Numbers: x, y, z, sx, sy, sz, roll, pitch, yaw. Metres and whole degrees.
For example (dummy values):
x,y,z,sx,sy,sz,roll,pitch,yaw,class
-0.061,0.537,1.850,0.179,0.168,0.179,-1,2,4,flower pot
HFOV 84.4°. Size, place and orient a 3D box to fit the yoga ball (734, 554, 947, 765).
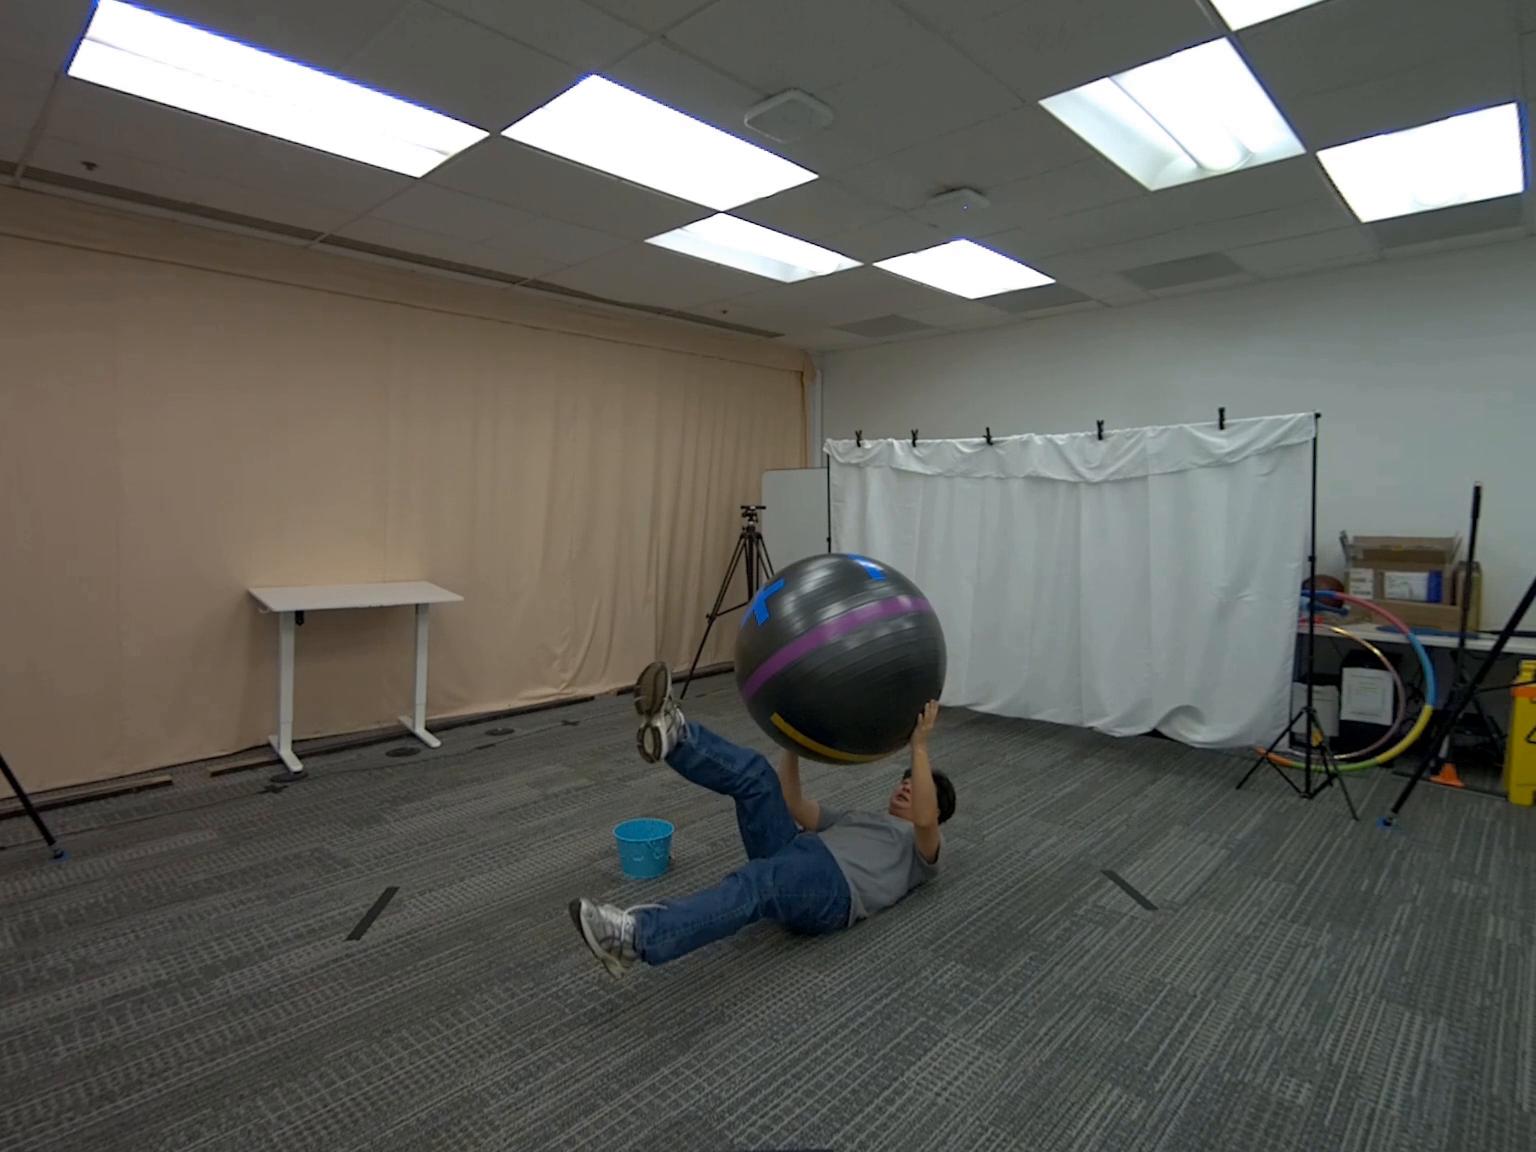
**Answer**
x,y,z,sx,sy,sz,roll,pitch,yaw,class
0.257,0.303,3.059,0.757,0.756,0.760,0,4,-2,yoga ball
